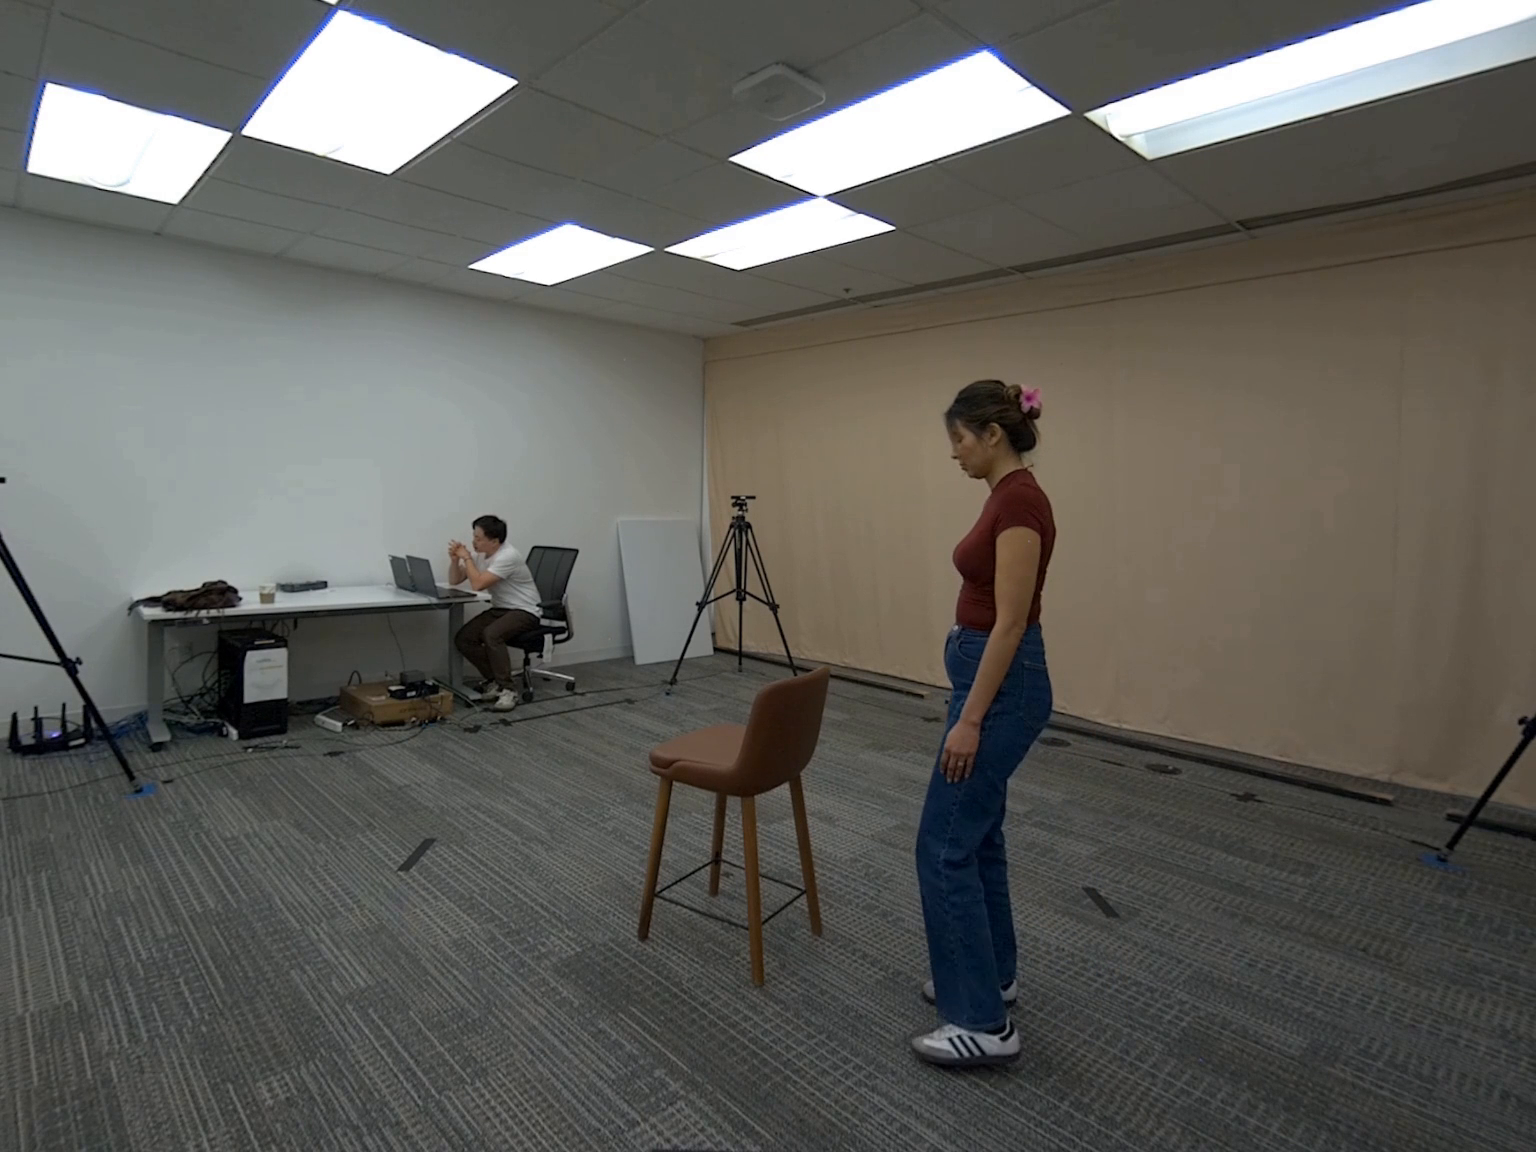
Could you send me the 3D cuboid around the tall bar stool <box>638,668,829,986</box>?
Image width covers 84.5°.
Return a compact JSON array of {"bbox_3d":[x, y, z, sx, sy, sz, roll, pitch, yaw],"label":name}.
[{"bbox_3d":[-0.098,0.708,2.642,0.479,0.886,0.447,6,6,34],"label":"tall bar stool"}]
